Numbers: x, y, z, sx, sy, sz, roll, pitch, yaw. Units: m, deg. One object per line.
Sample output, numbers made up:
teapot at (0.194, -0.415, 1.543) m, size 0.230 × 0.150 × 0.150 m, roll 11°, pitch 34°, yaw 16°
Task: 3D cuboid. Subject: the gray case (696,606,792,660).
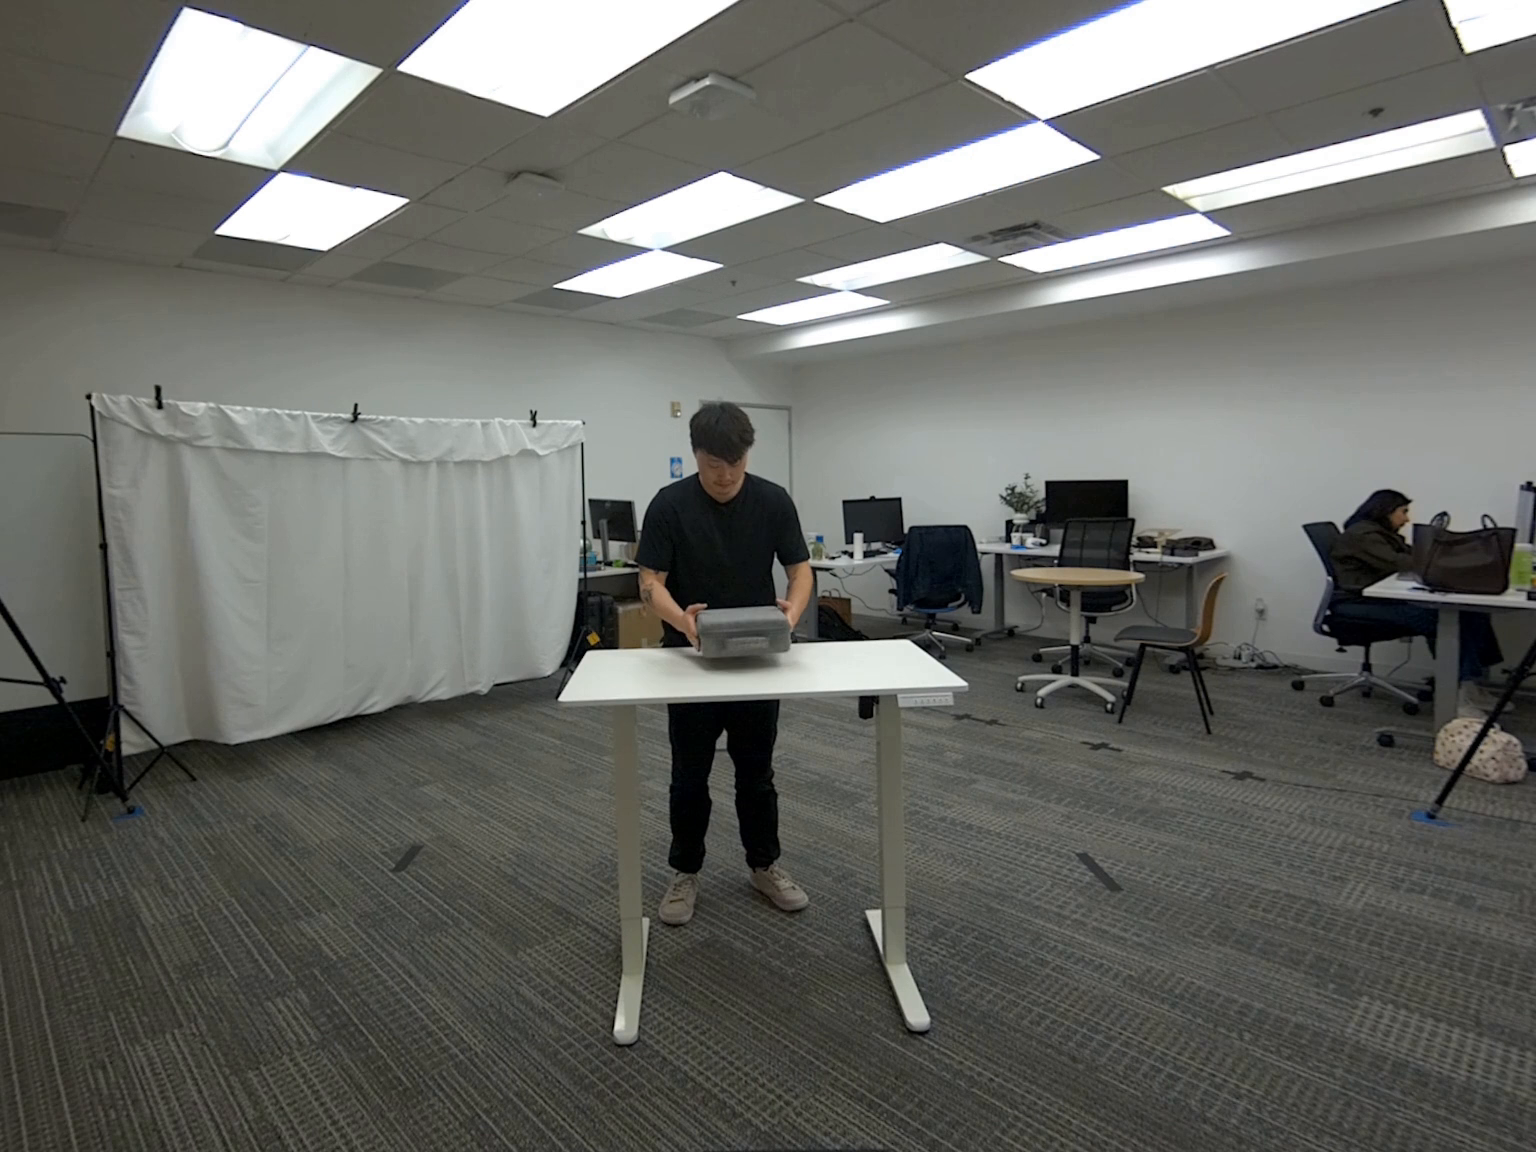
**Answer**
gray case at (-0.084, 0.160, 2.424) m, size 0.255 × 0.104 × 0.263 m, roll -1°, pitch 5°, yaw -7°
